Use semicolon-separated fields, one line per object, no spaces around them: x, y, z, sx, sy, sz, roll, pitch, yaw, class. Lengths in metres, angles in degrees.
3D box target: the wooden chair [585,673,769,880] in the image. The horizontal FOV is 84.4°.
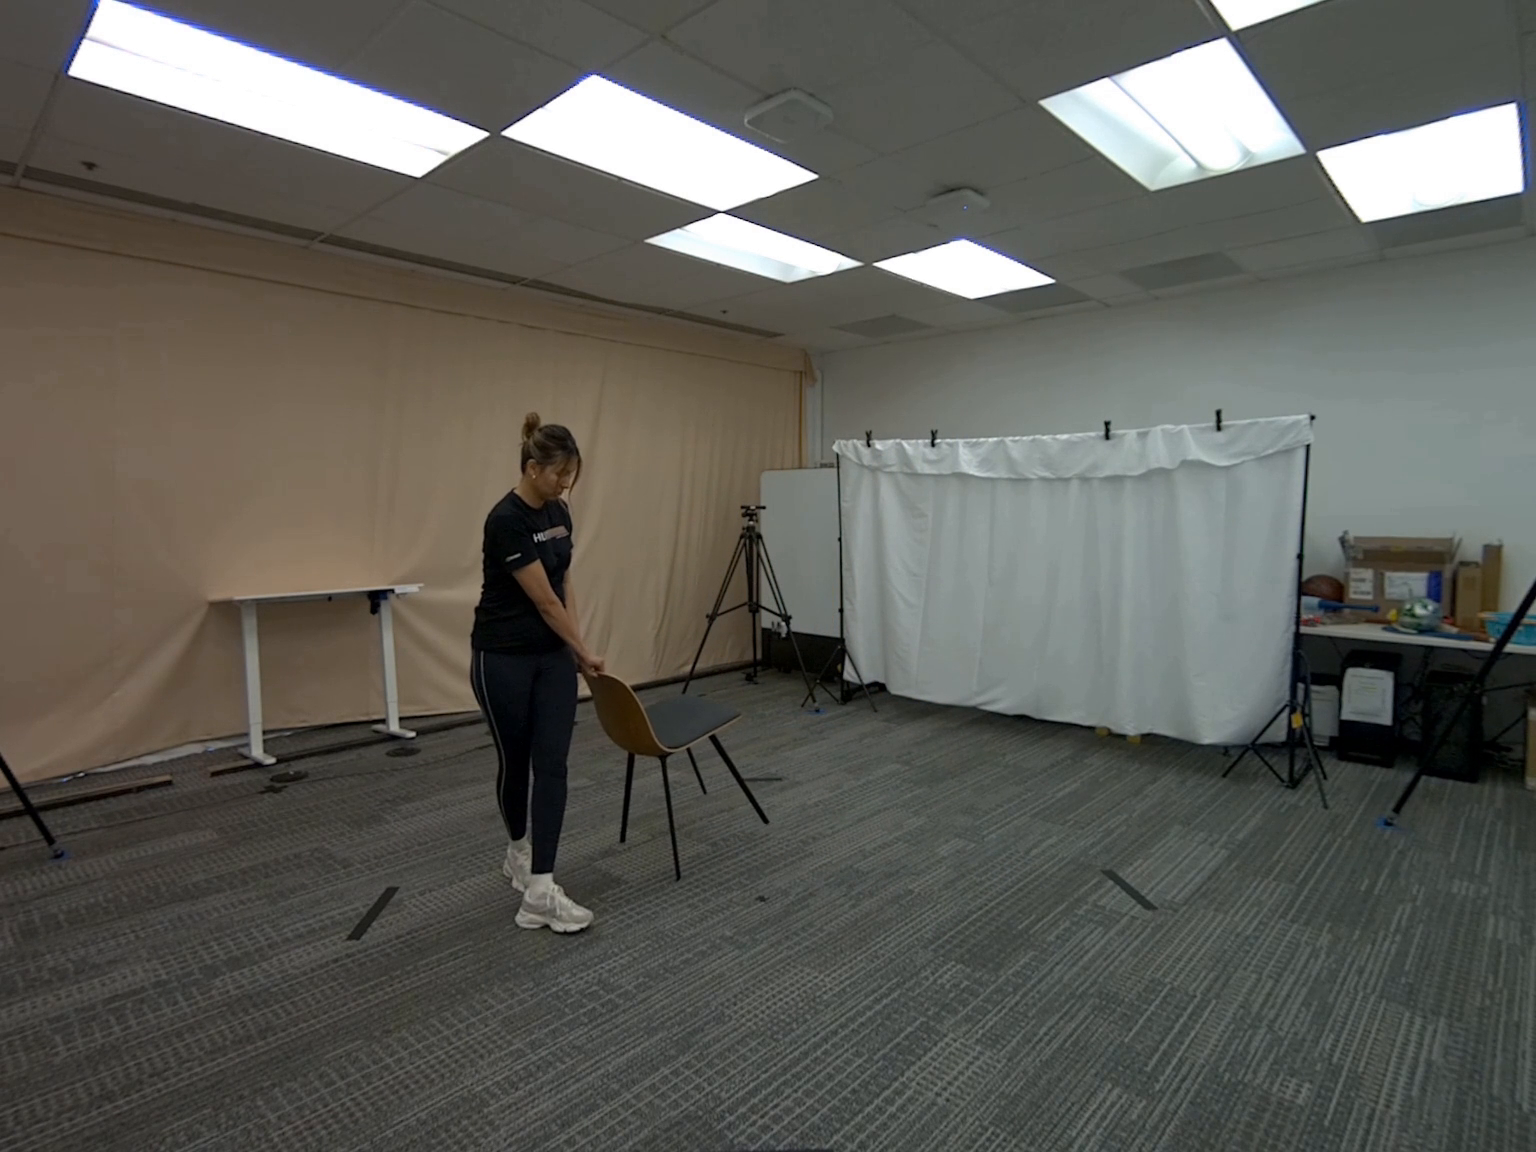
-0.391;0.645;3.348;0.513;0.866;0.493;-26;17;-34;wooden chair
